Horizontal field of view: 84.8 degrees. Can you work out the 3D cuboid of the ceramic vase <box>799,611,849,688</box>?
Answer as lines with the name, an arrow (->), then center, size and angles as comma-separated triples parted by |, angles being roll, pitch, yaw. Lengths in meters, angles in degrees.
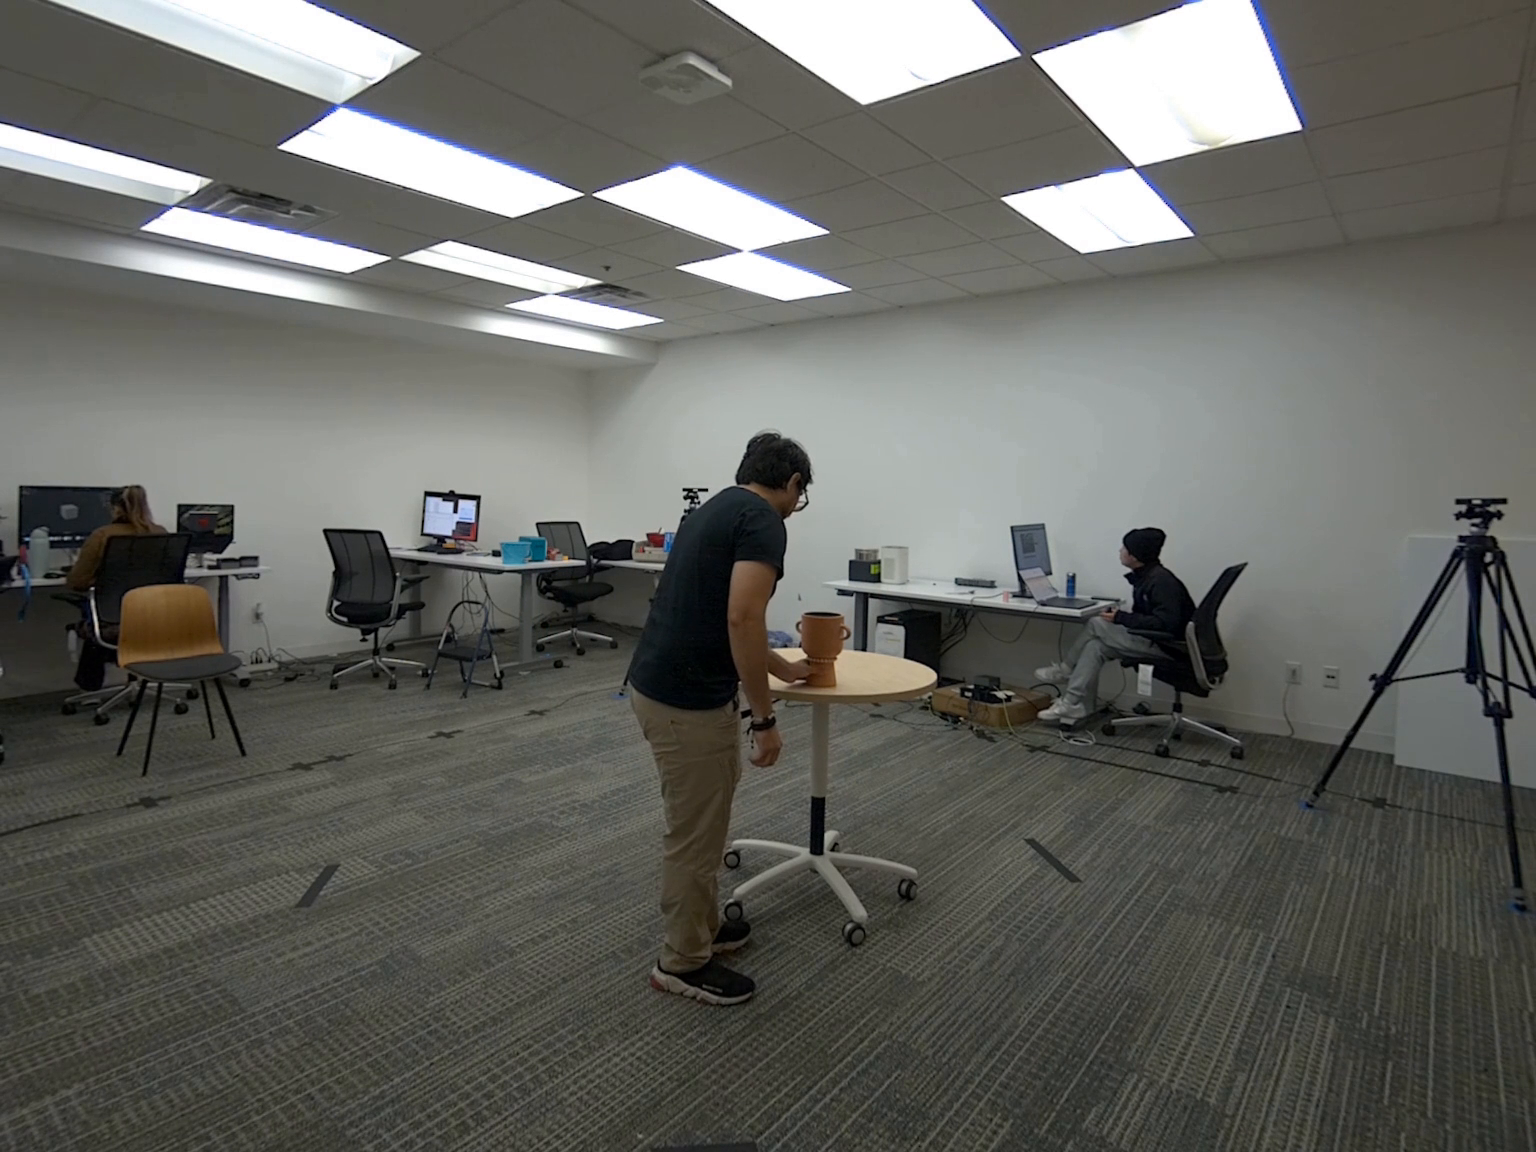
ceramic vase -> 0.161, 0.227, 2.669 | 0.132, 0.219, 0.162 | 2, 3, -16
